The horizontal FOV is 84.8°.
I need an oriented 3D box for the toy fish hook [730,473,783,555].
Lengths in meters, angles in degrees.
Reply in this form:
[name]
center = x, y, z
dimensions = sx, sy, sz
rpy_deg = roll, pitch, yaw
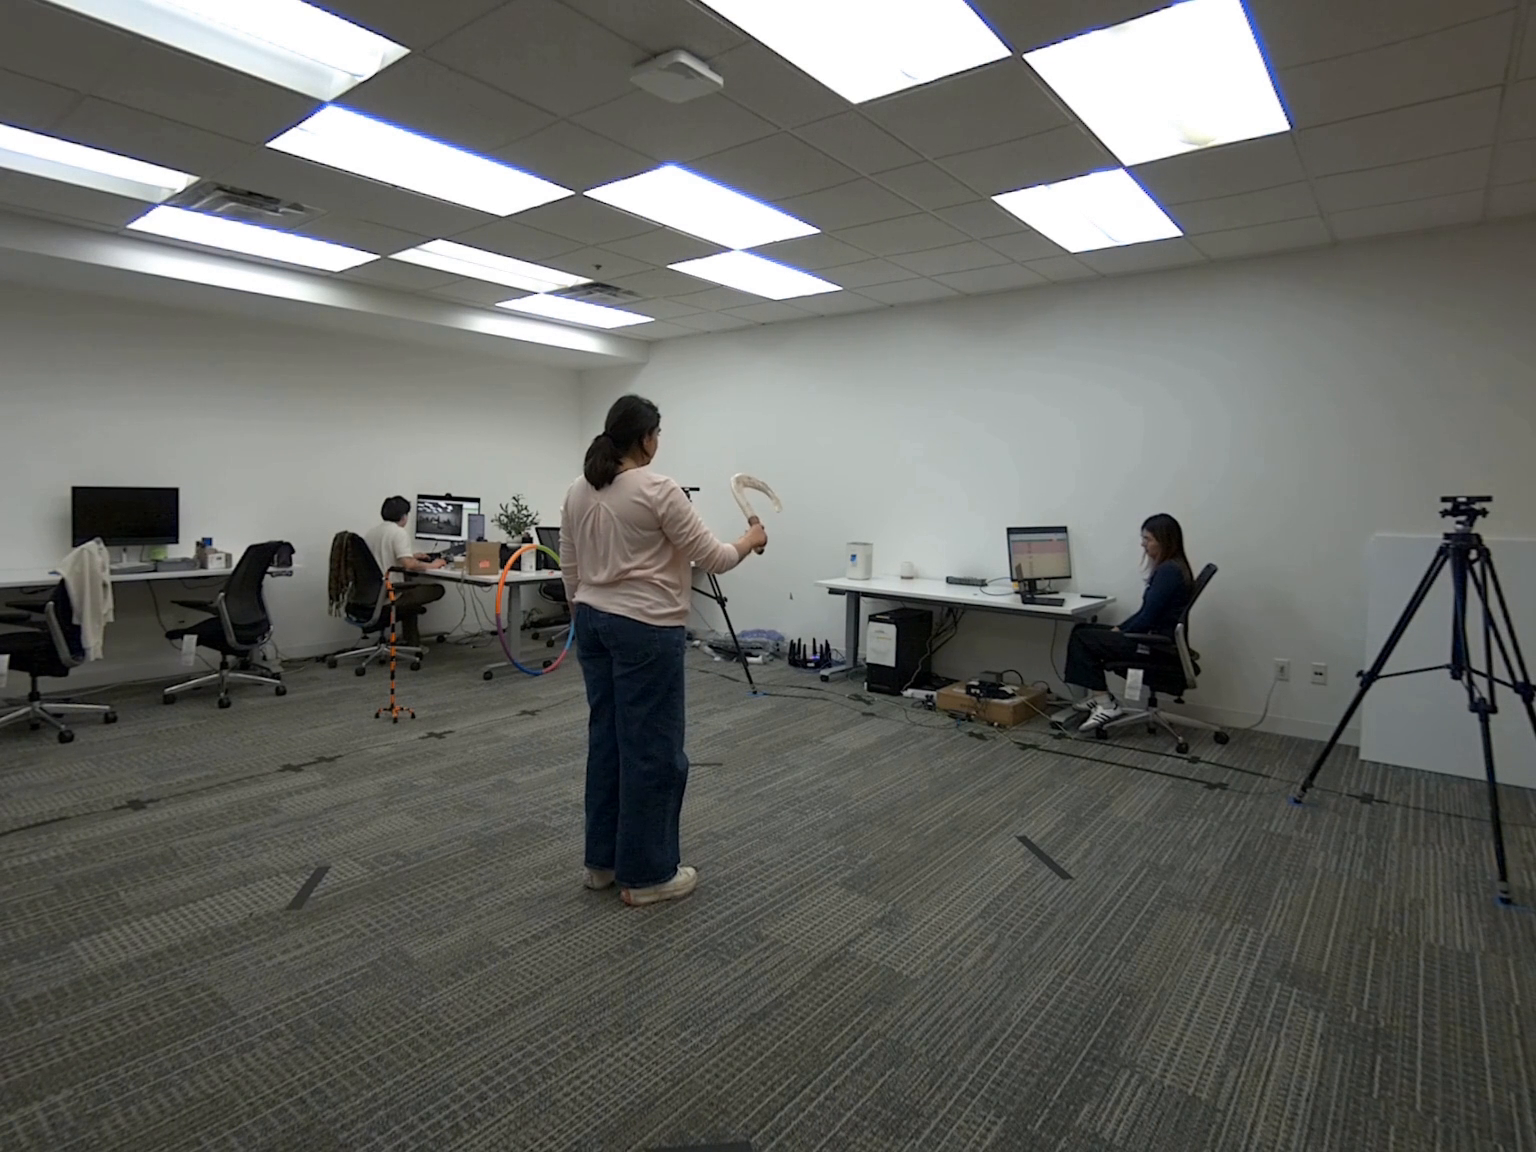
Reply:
[toy fish hook]
center = -0.032, -0.242, 3.298
dimensions = 0.219, 0.048, 0.524
rpy_deg = 14, 37, -20
